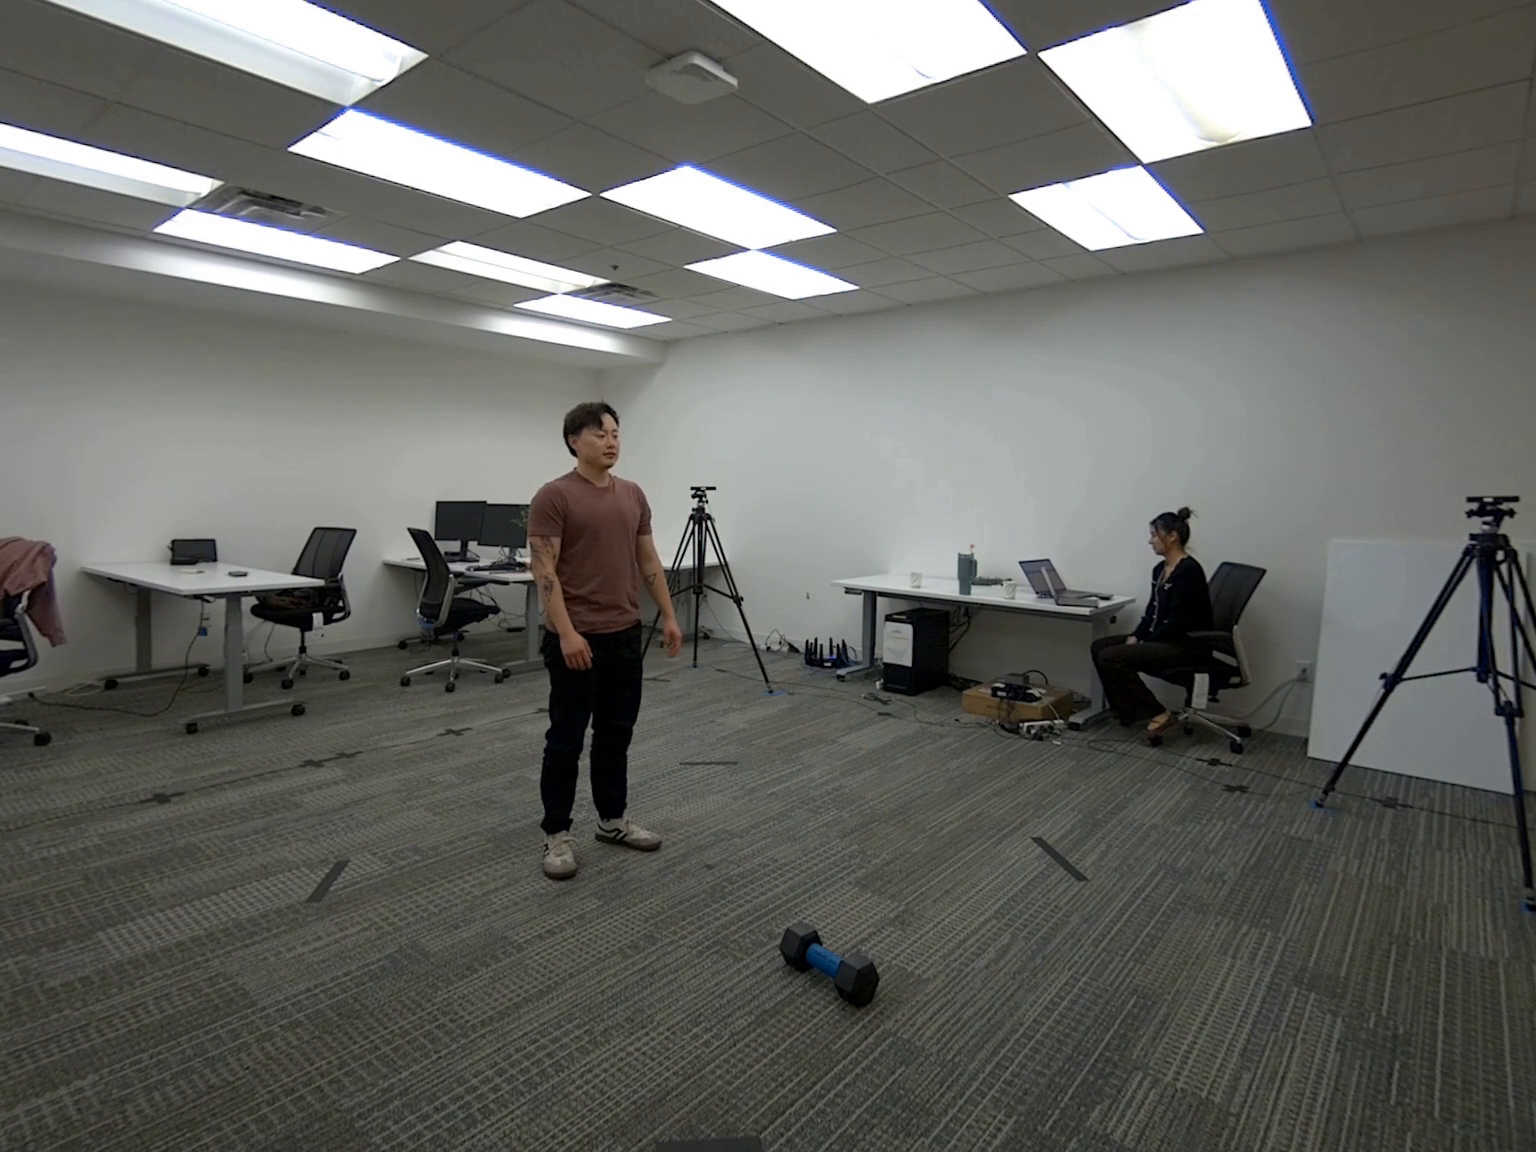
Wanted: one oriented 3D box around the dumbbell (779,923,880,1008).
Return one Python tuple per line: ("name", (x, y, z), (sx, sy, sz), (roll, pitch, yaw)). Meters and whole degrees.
("dumbbell", (0.164, 1.088, 2.404), (0.304, 0.119, 0.108), (7, 38, 48))
